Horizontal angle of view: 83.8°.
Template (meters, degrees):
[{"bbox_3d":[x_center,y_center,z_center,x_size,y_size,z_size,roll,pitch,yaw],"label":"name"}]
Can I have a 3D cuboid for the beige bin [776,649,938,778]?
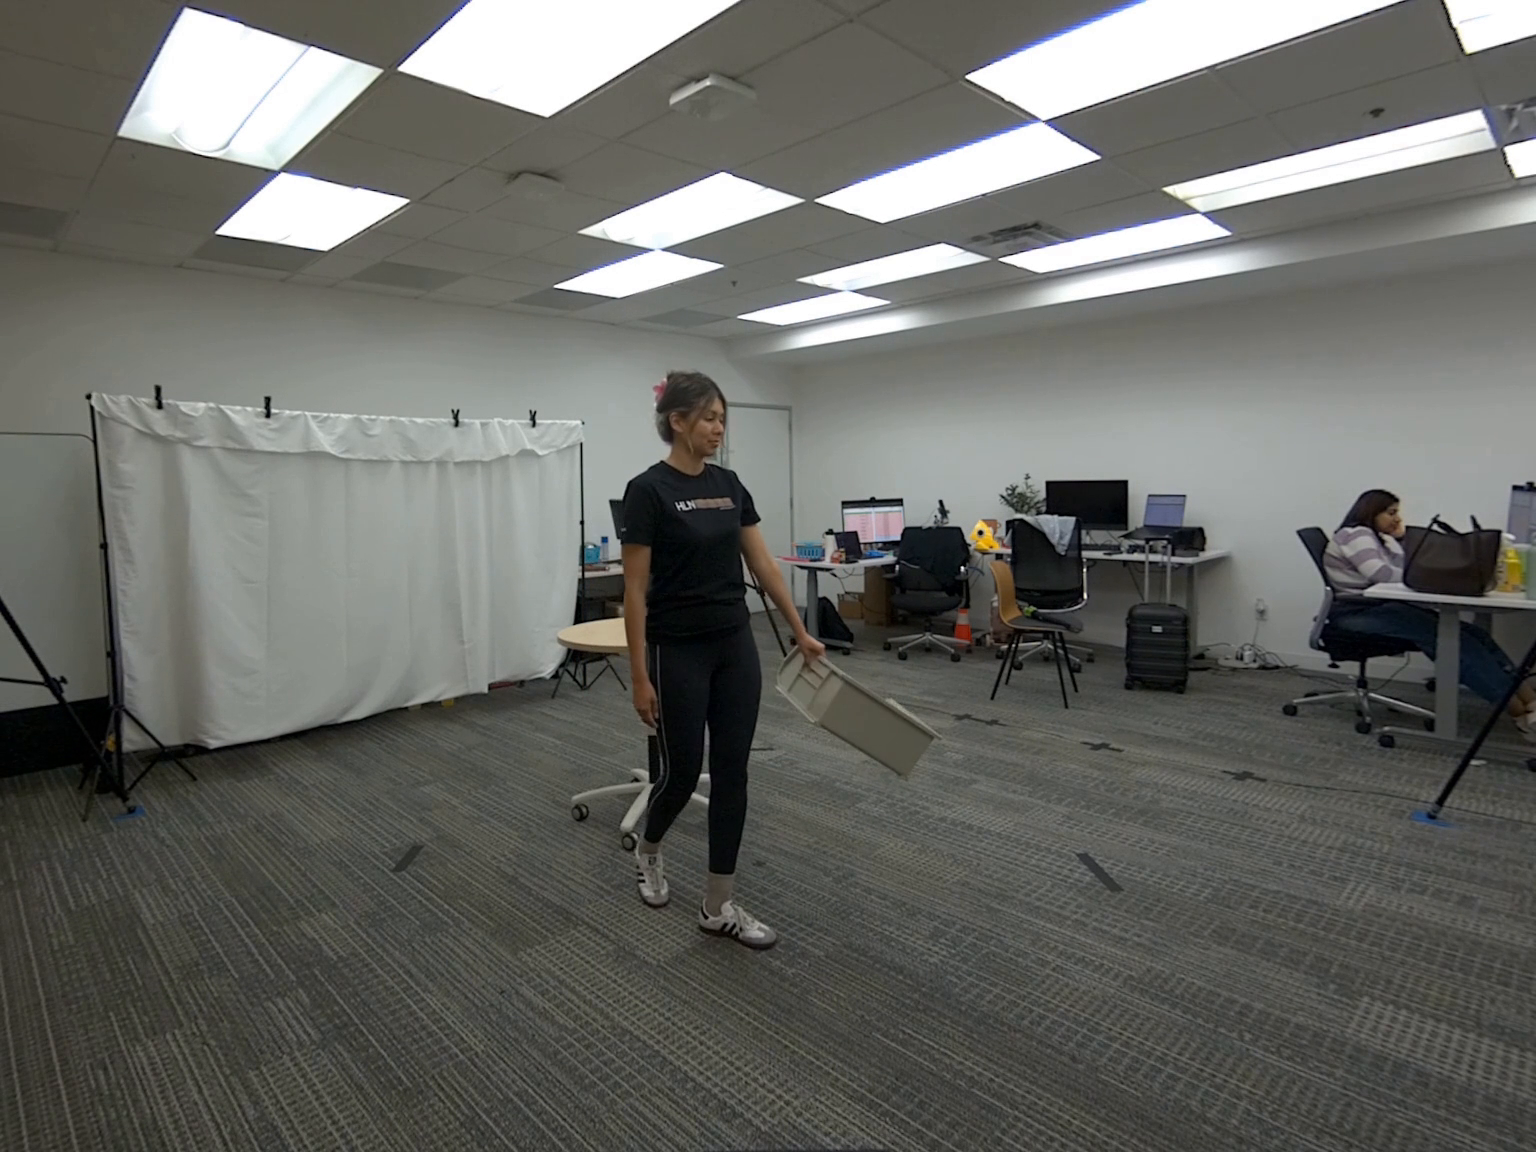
[{"bbox_3d":[0.268,0.427,2.799,0.412,0.189,0.387,34,0,-21],"label":"beige bin"}]
